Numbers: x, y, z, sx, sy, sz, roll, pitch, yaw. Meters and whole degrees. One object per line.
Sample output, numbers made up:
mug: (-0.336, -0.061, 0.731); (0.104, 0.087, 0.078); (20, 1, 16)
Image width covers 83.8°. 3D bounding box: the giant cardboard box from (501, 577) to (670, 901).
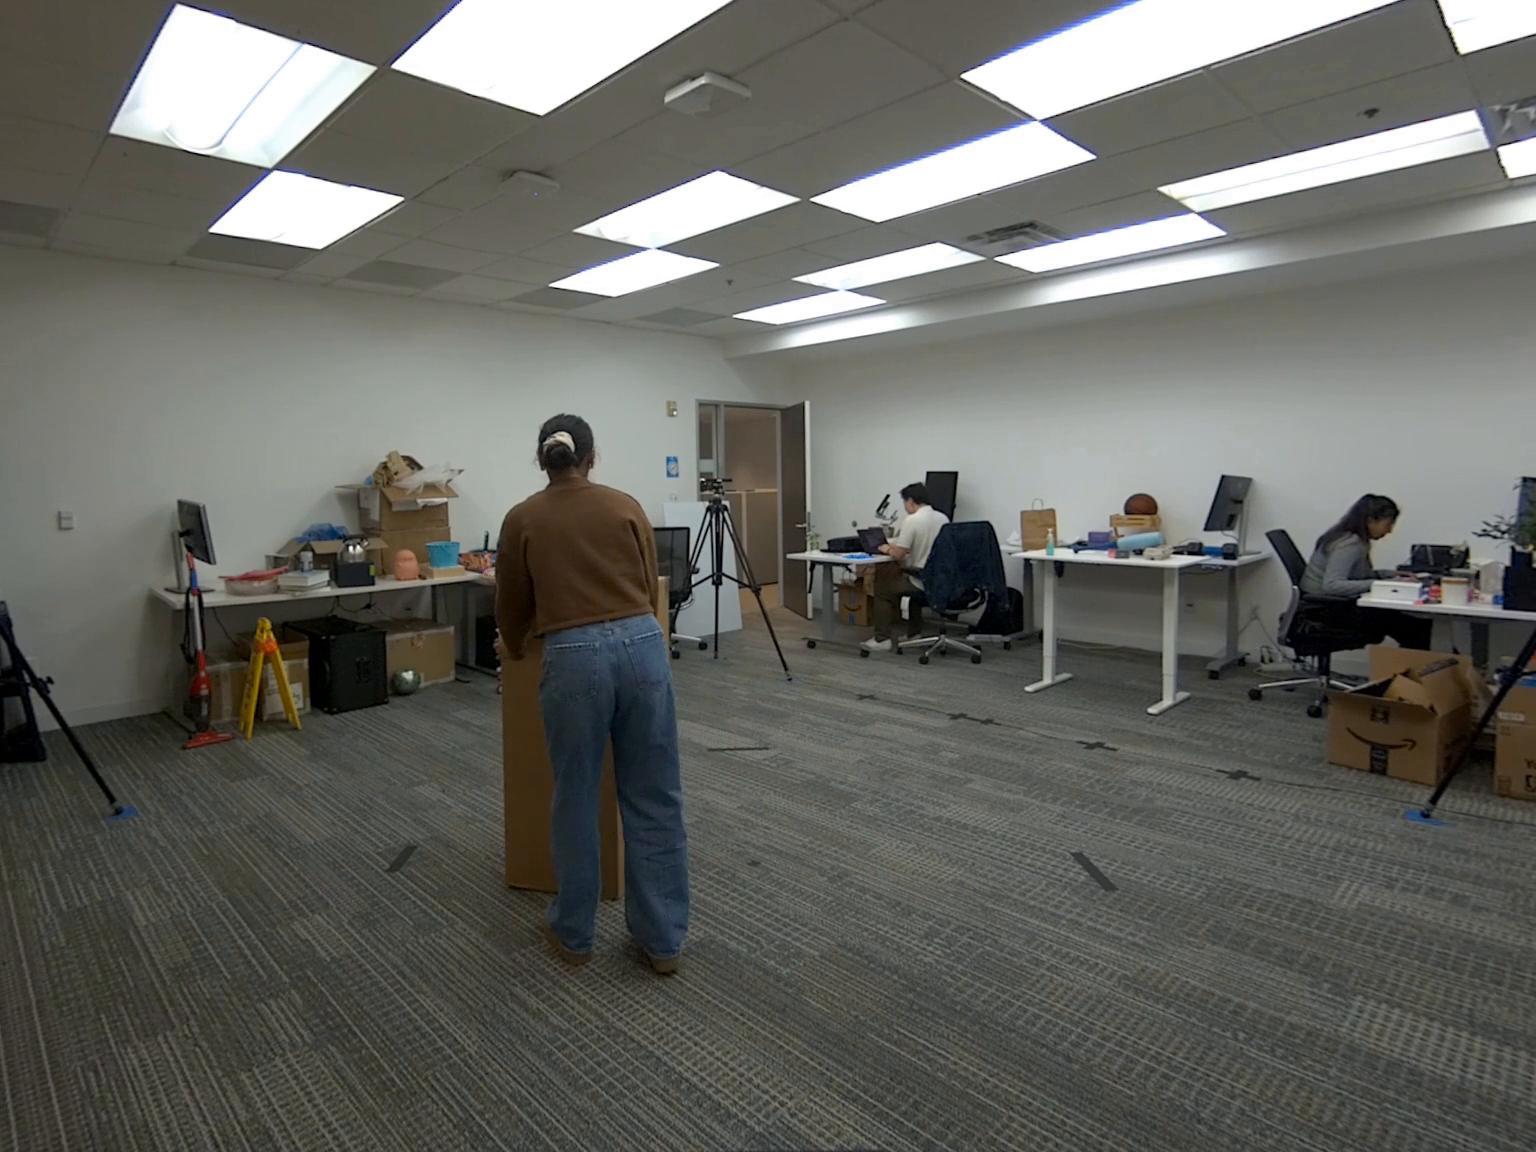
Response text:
giant cardboard box: (-0.644, 0.537, 3.147); (0.433, 1.022, 0.571); (1, 4, 14)
